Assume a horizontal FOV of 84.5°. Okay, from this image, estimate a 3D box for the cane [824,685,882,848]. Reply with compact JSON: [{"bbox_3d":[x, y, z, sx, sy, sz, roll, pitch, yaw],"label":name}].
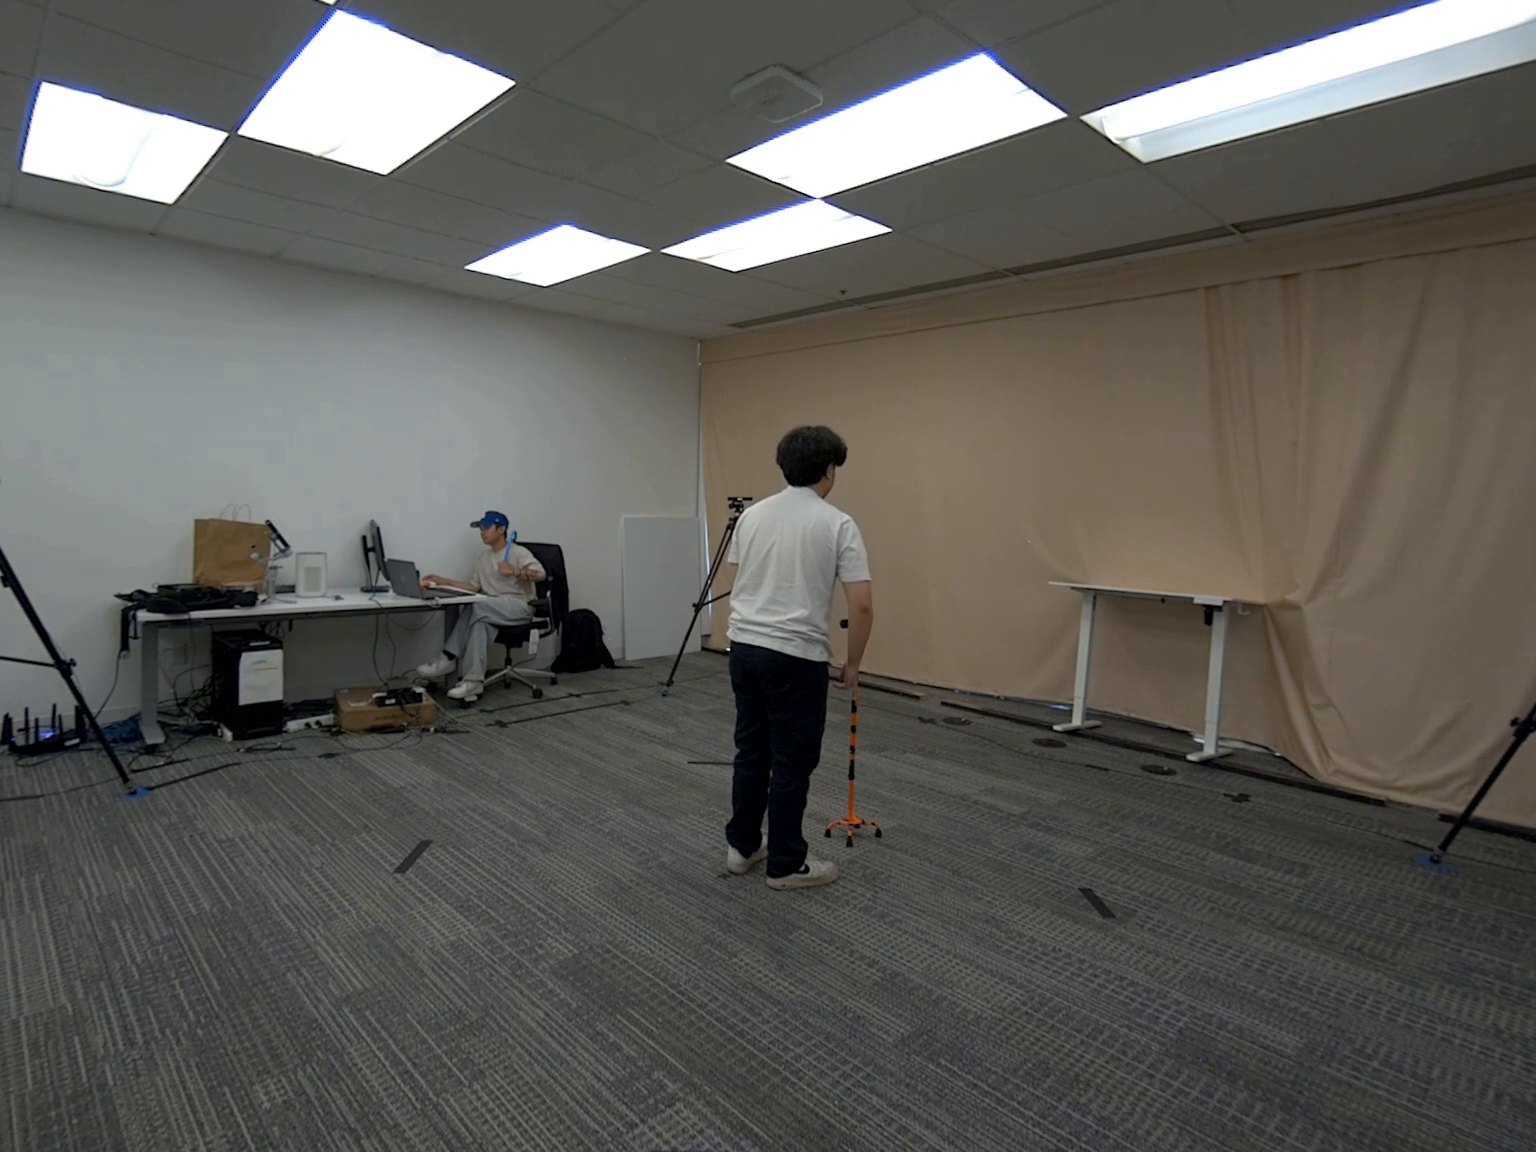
[{"bbox_3d":[0.358,0.633,3.492,0.201,0.907,0.155,0,2,-43],"label":"cane"}]
